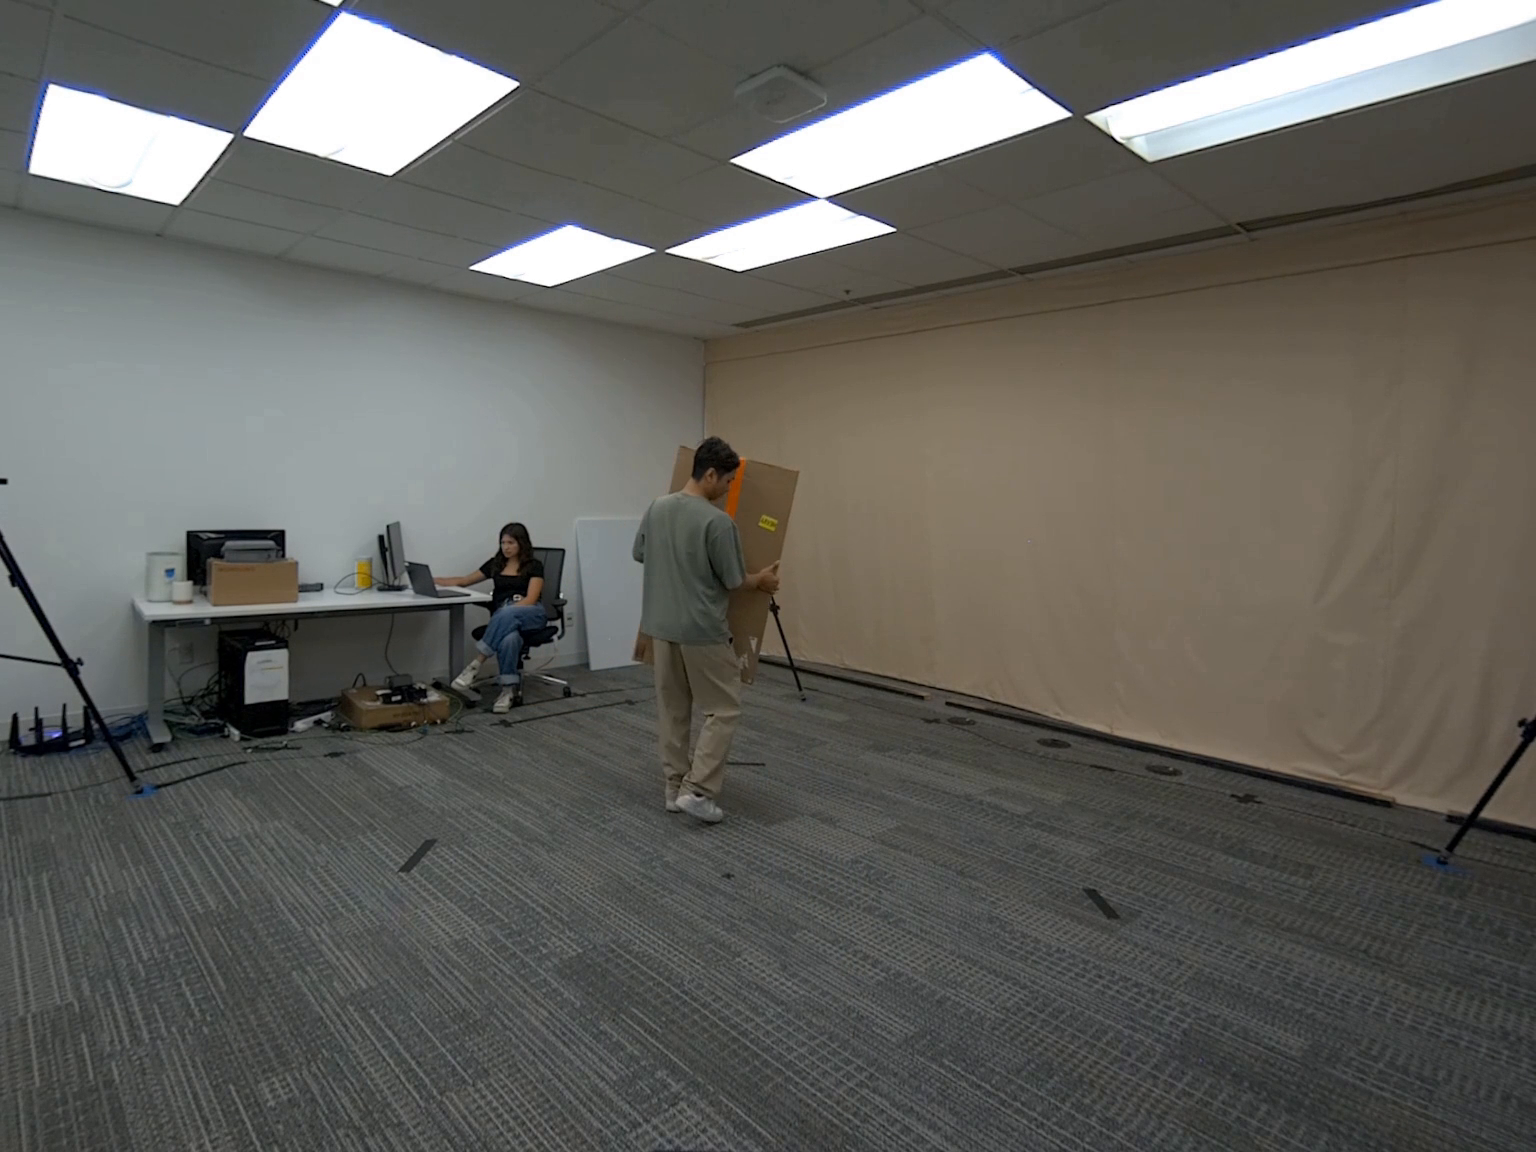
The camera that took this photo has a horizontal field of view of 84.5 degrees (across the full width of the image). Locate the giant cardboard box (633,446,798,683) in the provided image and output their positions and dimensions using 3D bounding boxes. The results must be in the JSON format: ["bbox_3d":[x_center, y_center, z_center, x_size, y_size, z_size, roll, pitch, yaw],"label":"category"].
[{"bbox_3d":[-0.264,-0.063,4.095,0.575,1.025,0.429,12,2,-6],"label":"giant cardboard box"}]
